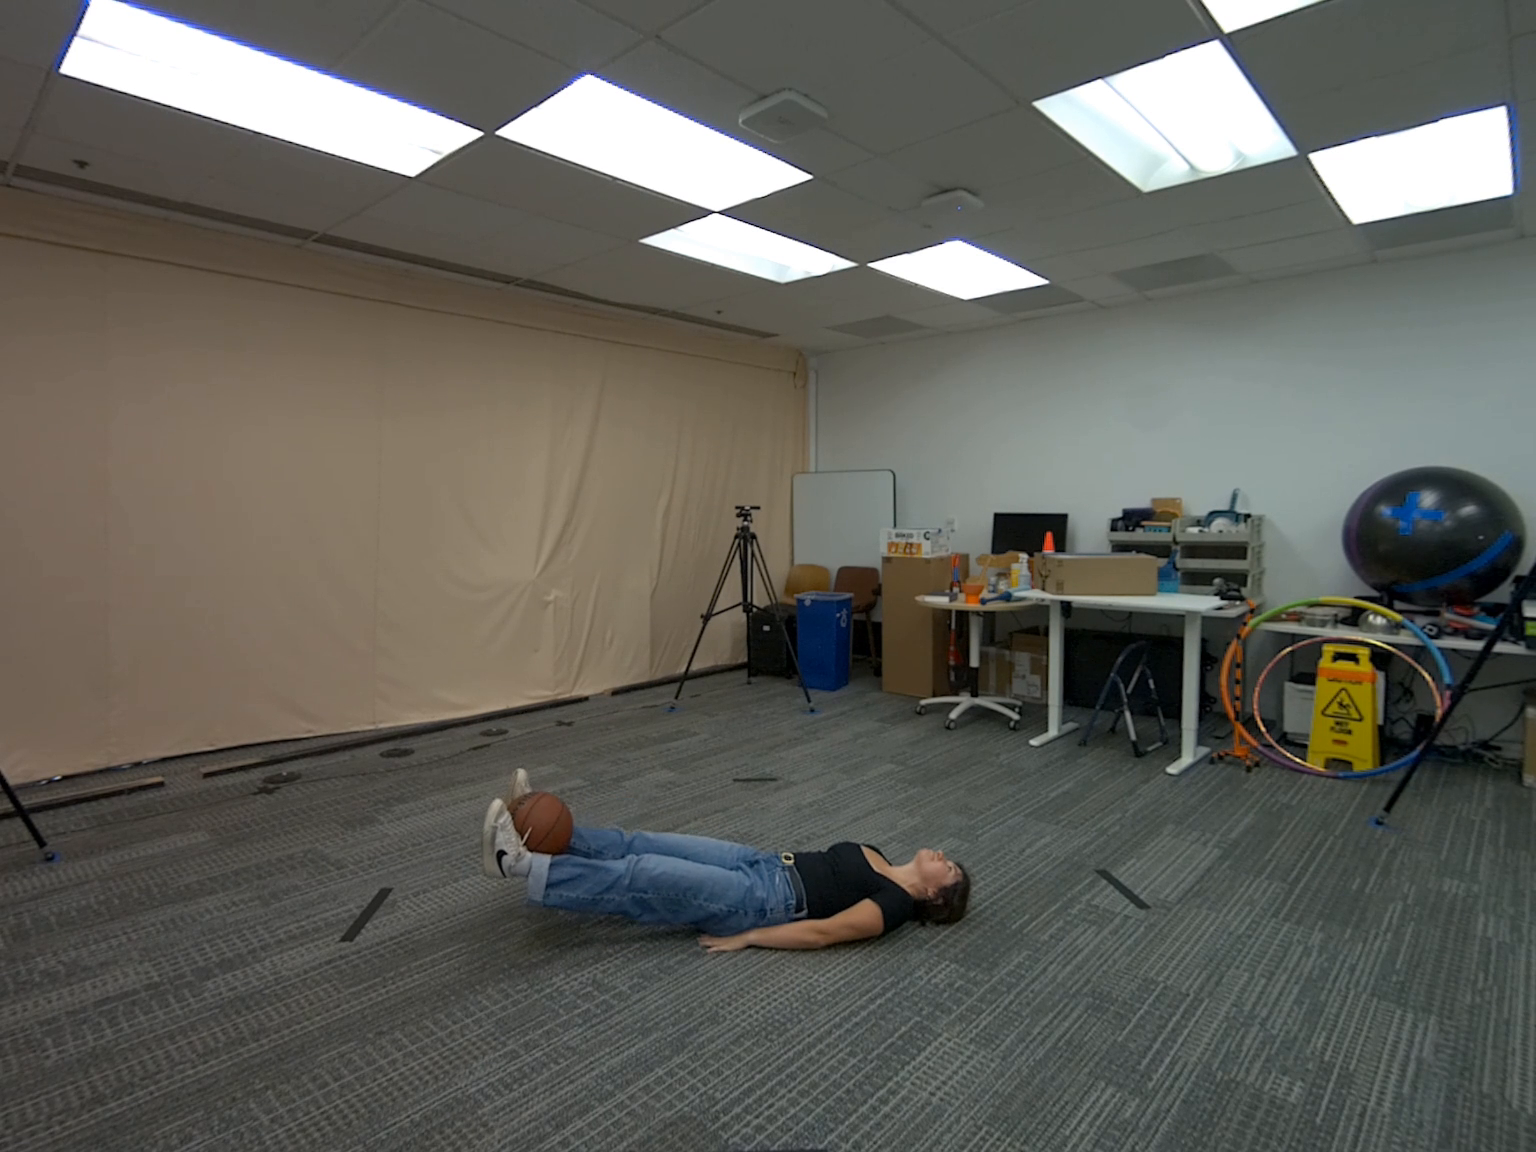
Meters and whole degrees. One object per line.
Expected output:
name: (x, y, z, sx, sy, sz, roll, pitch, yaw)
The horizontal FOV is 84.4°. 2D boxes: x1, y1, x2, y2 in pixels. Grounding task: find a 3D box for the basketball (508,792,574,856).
basketball: (-0.756, 0.827, 2.761, 0.236, 0.235, 0.237, 0, 4, -2)
